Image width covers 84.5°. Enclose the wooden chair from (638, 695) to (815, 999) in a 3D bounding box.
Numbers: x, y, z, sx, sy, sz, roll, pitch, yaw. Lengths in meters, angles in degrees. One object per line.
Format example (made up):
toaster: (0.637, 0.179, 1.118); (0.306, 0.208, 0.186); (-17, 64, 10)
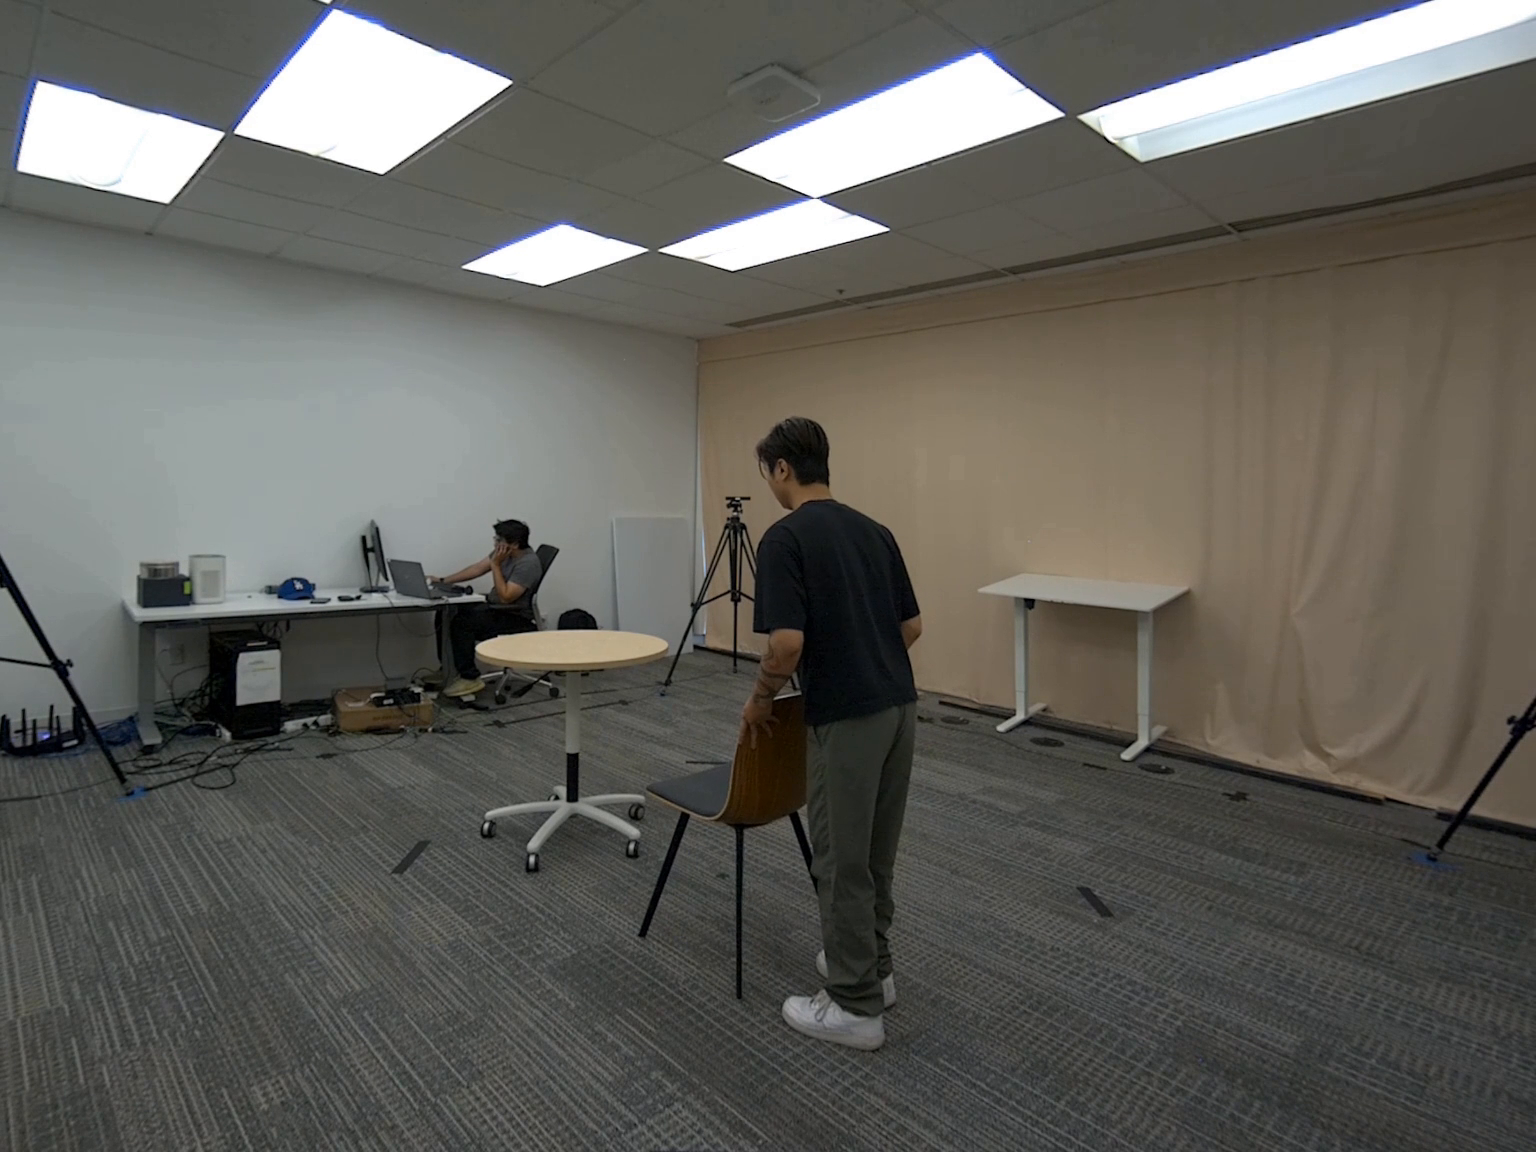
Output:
wooden chair: (-0.092, 0.720, 2.629); (0.537, 0.873, 0.467); (11, 10, 44)
